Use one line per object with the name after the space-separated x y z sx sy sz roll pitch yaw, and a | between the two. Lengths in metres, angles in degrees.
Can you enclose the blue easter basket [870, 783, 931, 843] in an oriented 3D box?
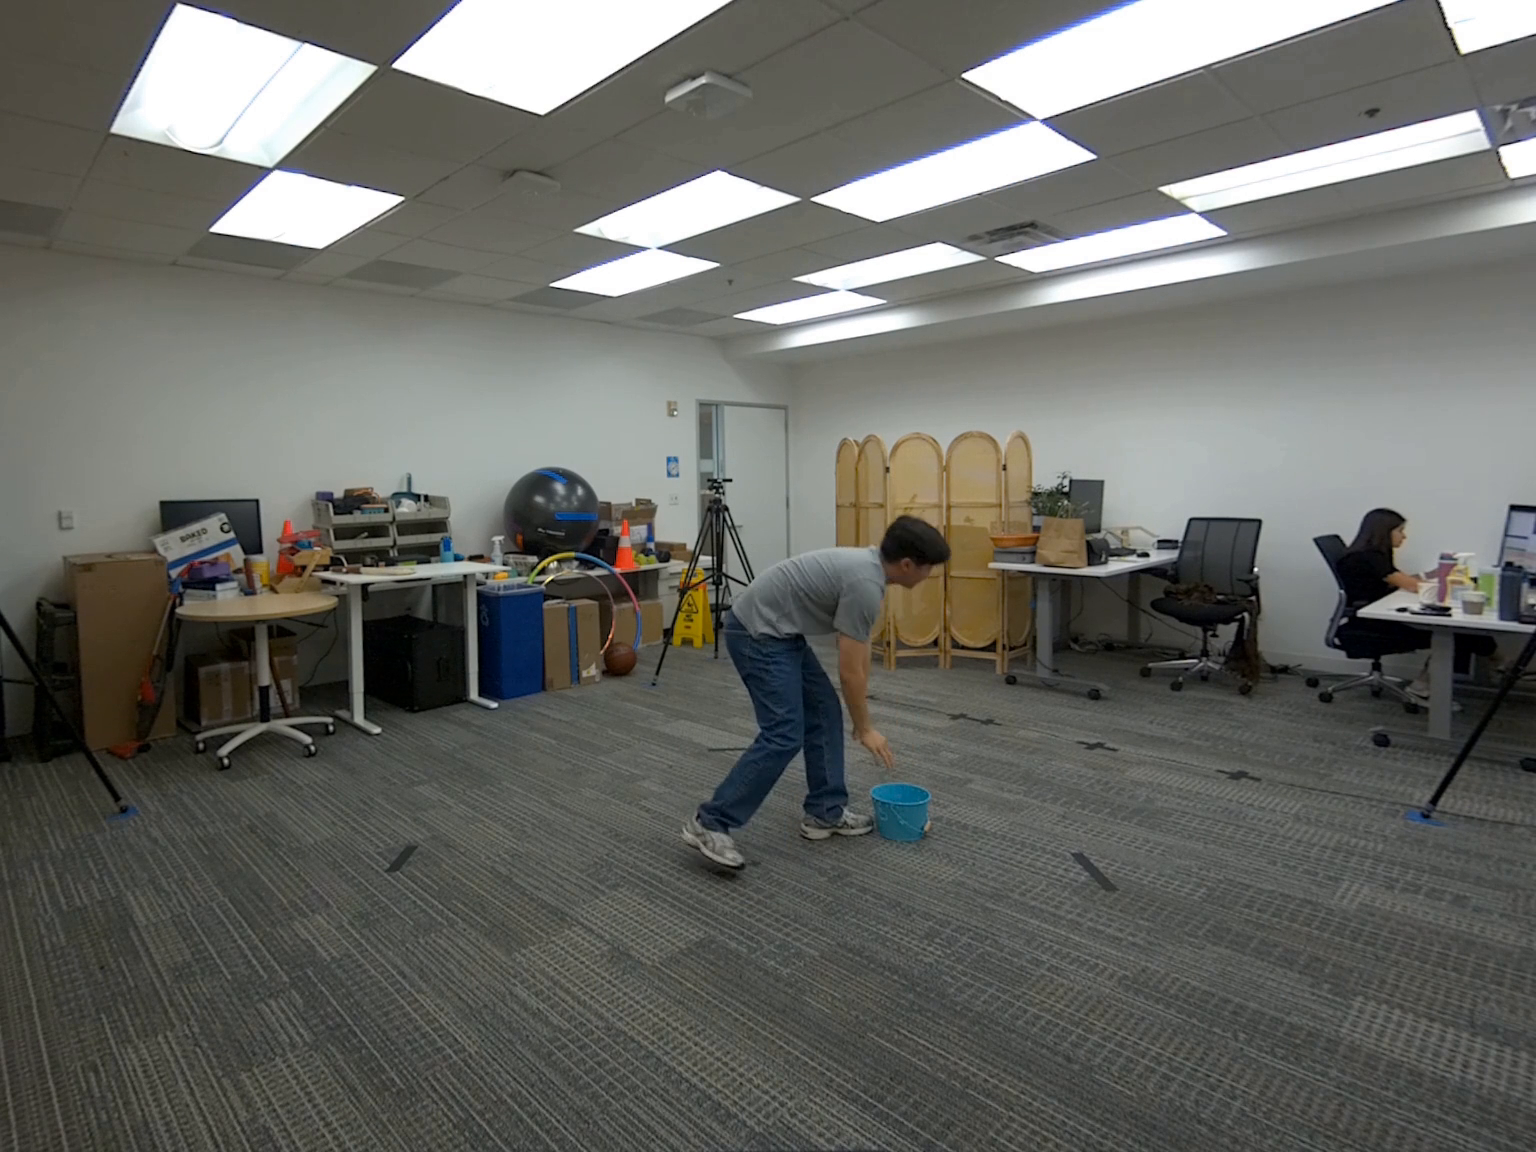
0.521 0.924 3.359 0.243 0.155 0.245 -1 5 -2 | blue easter basket
